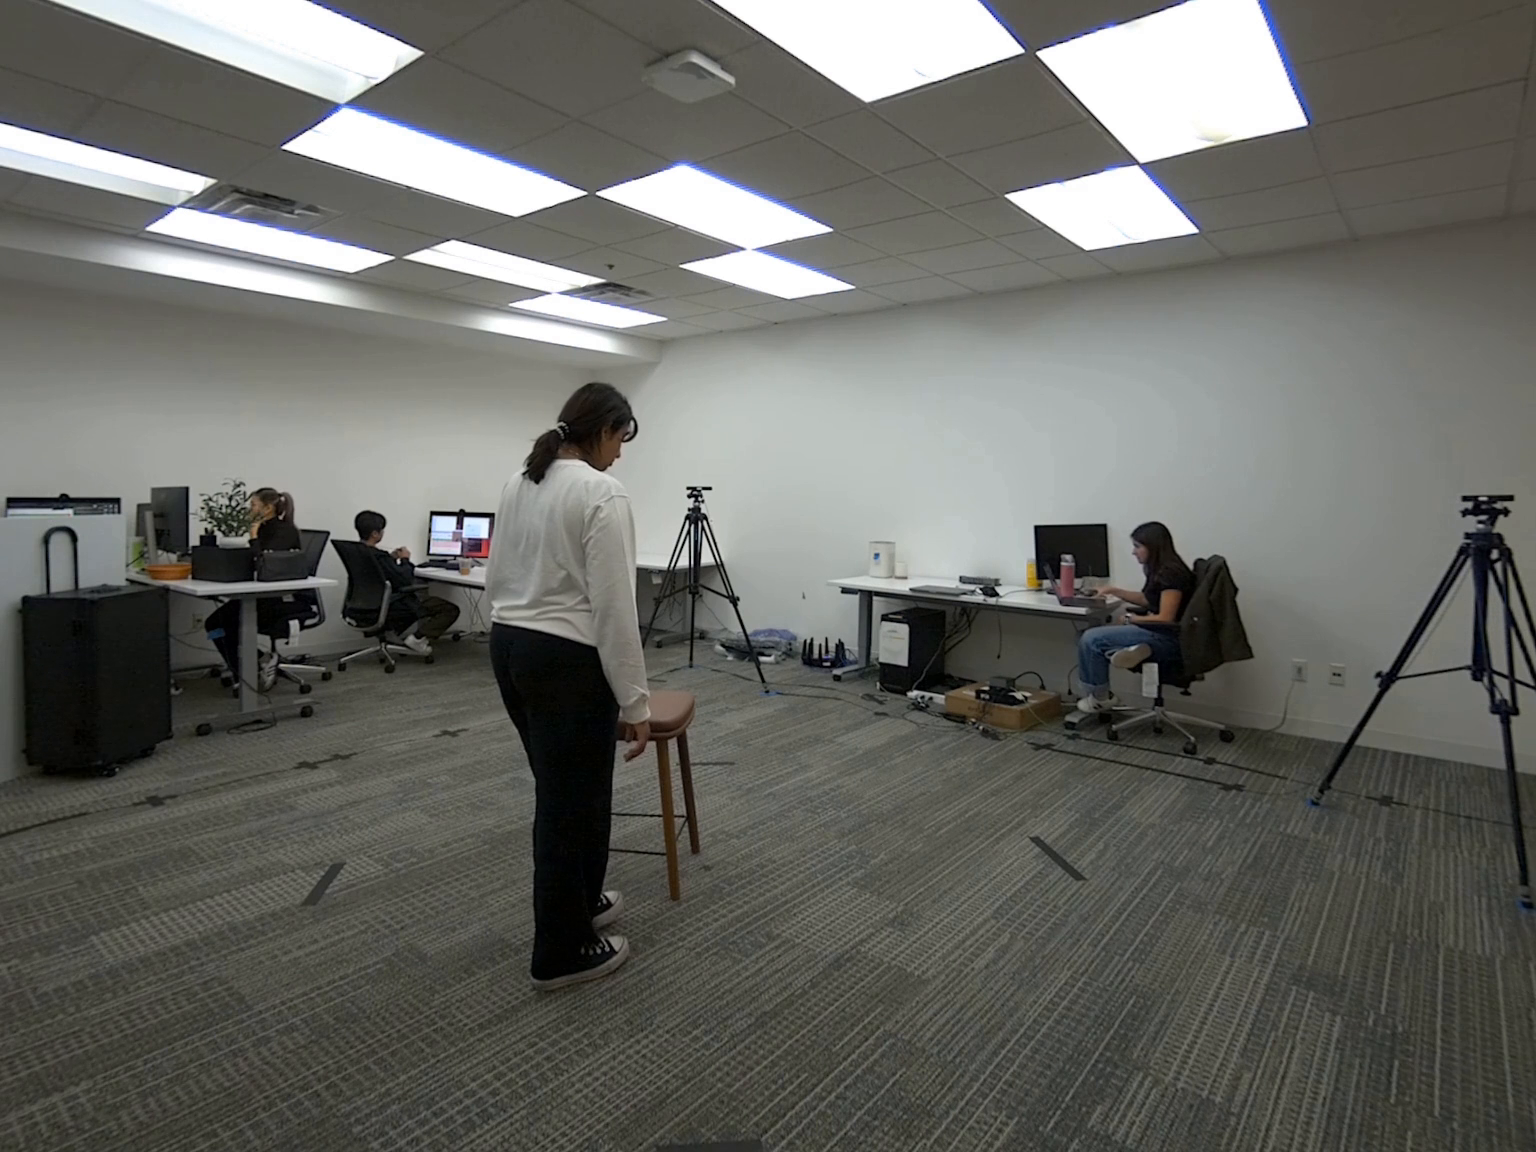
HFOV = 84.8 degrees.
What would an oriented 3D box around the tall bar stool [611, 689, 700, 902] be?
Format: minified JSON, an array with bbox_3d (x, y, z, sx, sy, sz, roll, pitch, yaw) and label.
[{"bbox_3d":[-0.500,0.631,3.065,0.472,0.887,0.453,0,3,9],"label":"tall bar stool"}]
